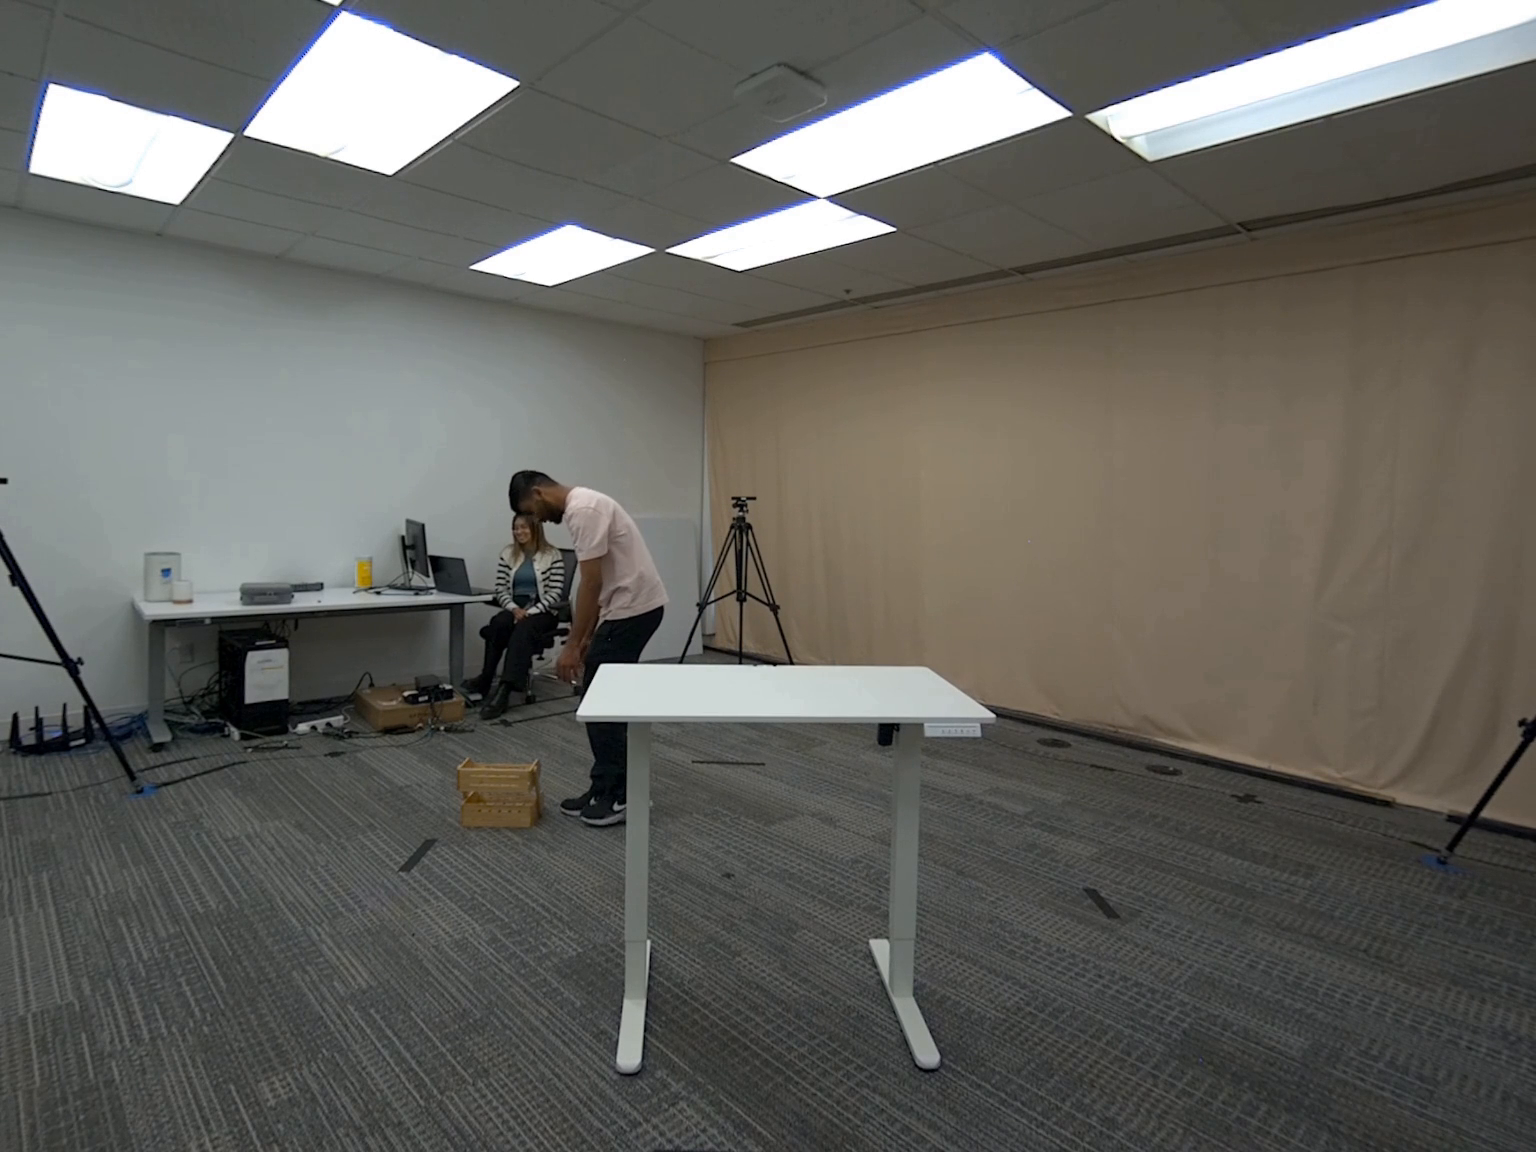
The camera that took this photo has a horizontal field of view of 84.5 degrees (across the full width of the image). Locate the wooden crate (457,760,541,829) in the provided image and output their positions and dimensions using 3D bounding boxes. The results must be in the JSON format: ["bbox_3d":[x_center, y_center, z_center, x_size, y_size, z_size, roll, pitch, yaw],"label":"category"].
[{"bbox_3d":[-1.141,0.904,3.603,0.324,0.272,0.303,2,5,-2],"label":"wooden crate"}]
